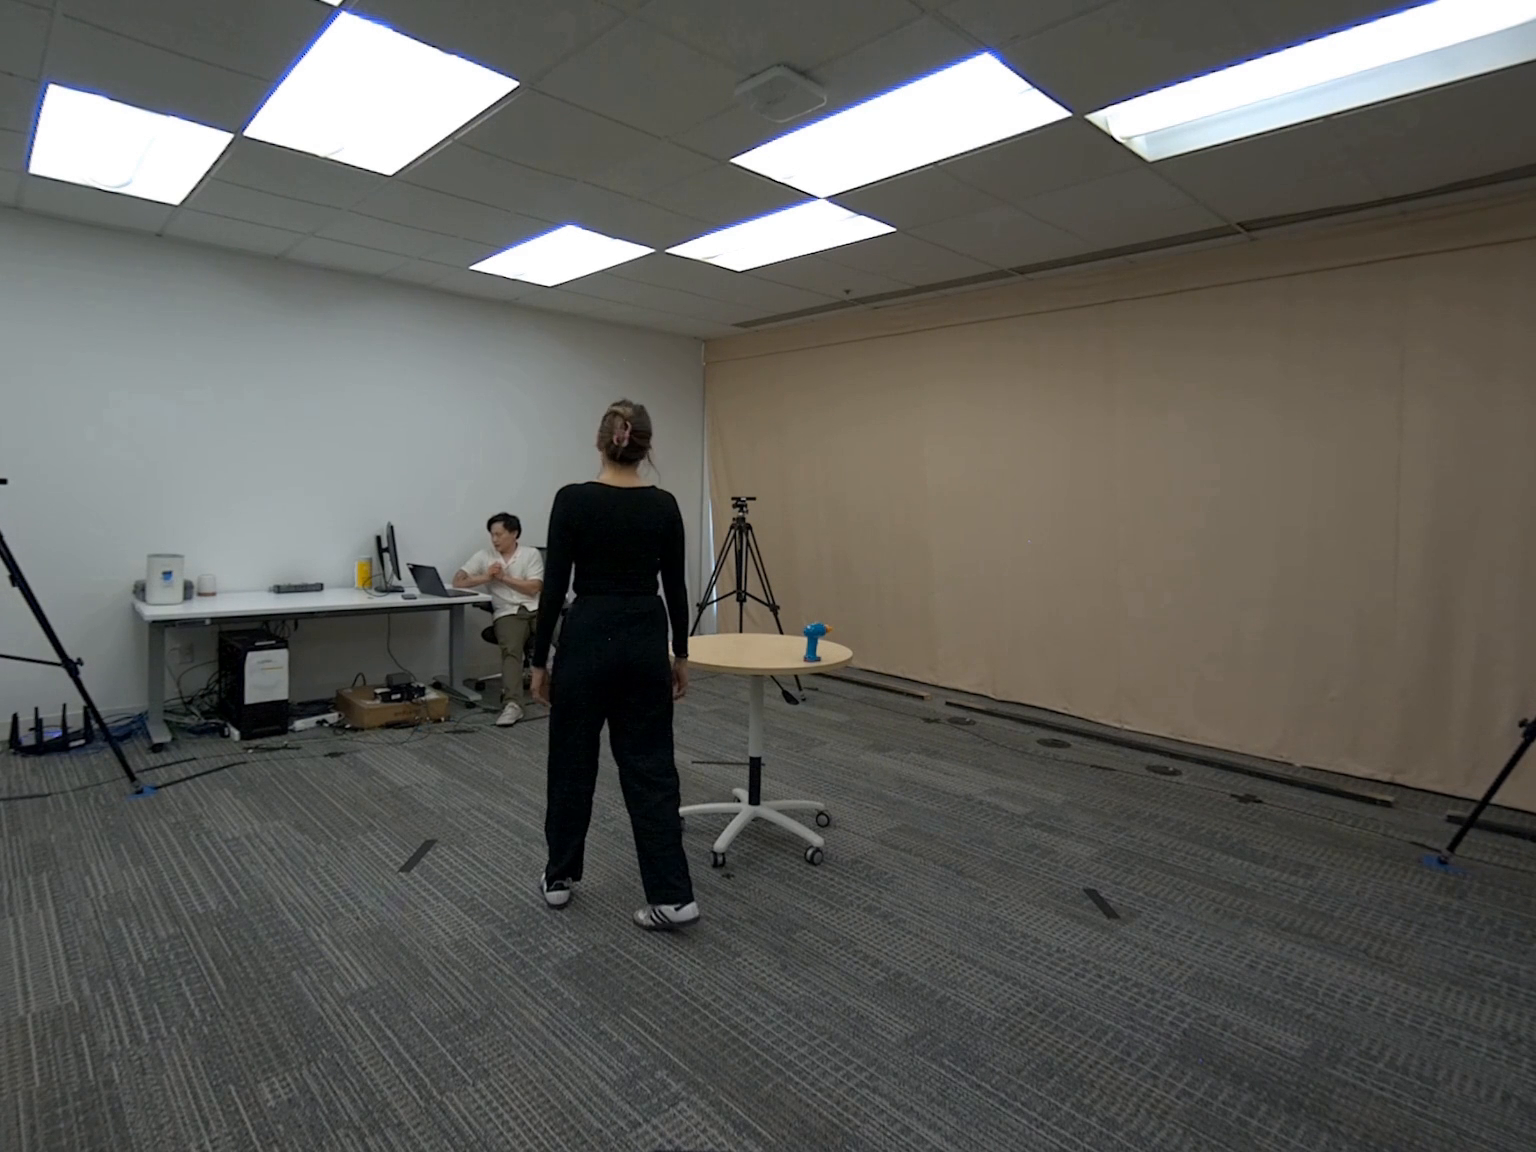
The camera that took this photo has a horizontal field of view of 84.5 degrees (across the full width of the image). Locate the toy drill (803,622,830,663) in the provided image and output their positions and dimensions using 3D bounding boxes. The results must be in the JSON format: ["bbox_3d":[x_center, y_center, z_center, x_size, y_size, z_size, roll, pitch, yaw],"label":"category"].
[{"bbox_3d":[0.187,0.249,3.220,0.062,0.145,0.166,3,5,40],"label":"toy drill"}]
